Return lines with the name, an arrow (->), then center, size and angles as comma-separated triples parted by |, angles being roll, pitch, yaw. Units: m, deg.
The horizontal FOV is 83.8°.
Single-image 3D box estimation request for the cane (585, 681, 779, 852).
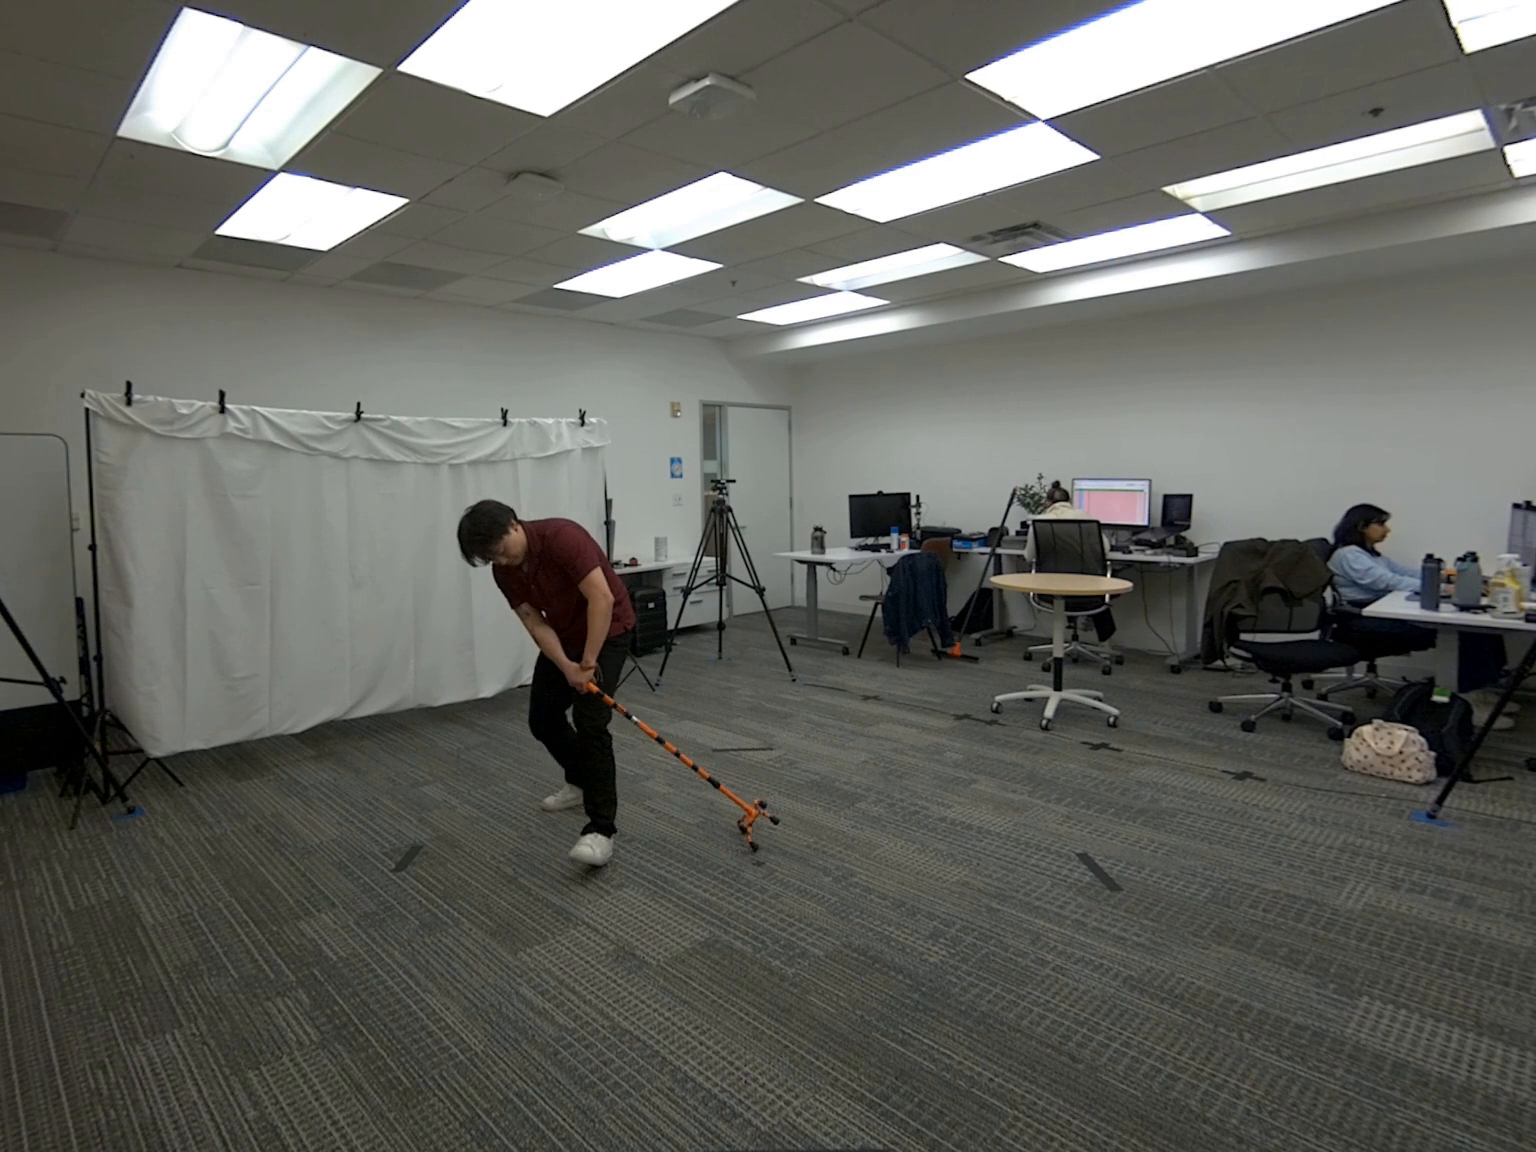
cane -> -0.358, 0.676, 3.221 | 0.895, 0.152, 0.209 | 41, -7, -11
